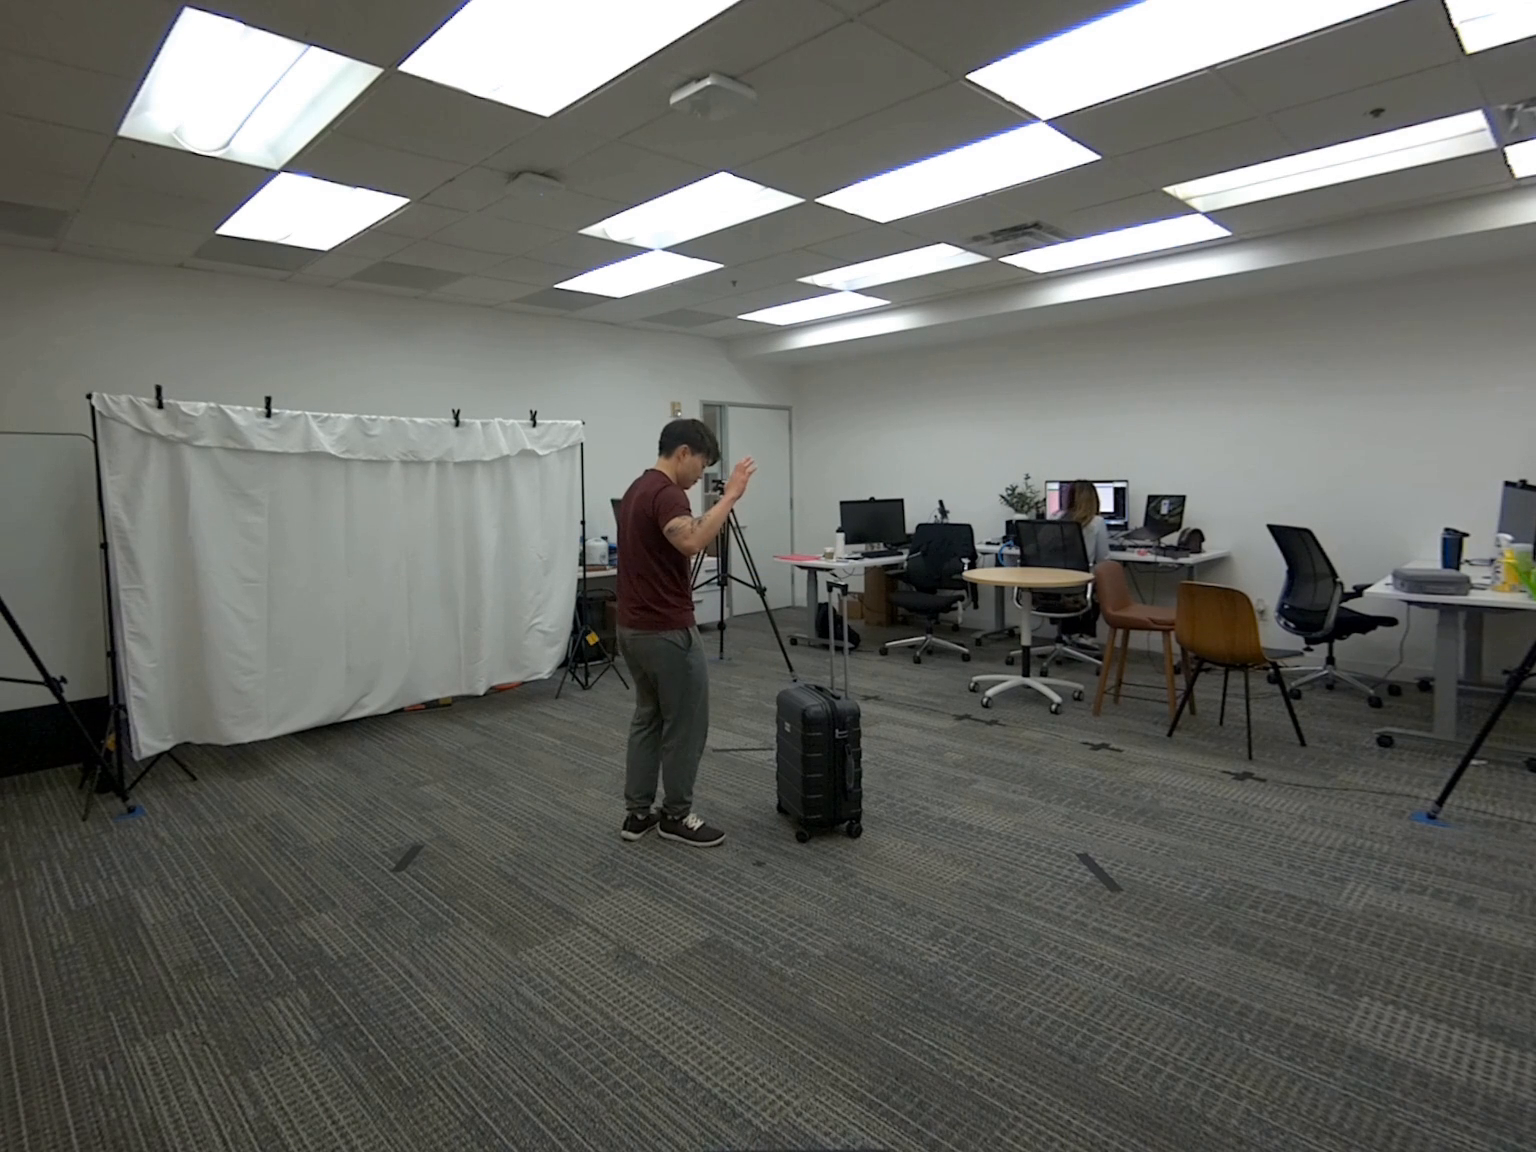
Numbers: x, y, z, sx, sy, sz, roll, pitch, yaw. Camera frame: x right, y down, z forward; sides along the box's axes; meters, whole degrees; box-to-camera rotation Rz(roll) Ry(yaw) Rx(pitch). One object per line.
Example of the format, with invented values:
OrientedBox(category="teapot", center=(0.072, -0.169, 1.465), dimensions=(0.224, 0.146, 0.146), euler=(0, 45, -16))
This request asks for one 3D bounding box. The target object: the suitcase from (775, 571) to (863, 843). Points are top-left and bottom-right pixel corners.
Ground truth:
OrientedBox(category="suitcase", center=(0.198, 0.527, 3.427), dimensions=(0.254, 0.976, 0.390), euler=(-2, 3, -15))
